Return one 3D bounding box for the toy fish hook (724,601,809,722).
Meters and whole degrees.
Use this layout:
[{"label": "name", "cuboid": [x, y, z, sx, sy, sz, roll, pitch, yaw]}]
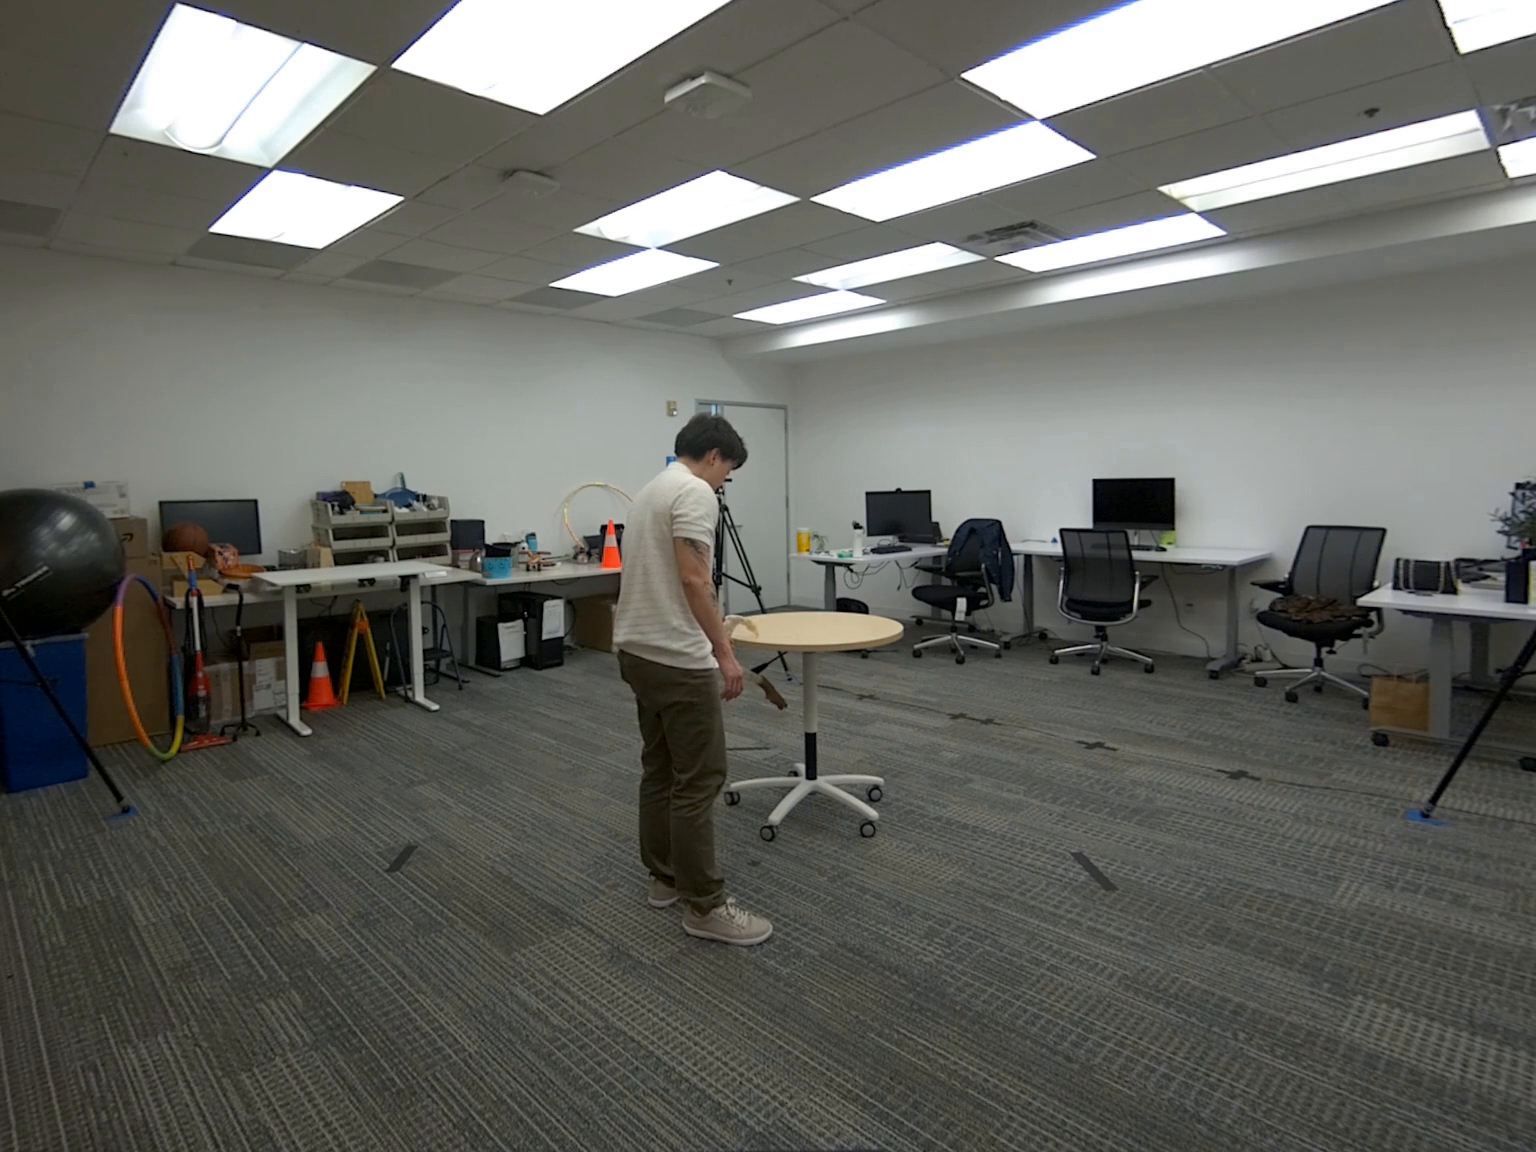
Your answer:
[{"label": "toy fish hook", "cuboid": [-0.035, 0.338, 3.335, 0.050, 0.226, 0.488, 5, -34, 45]}]
